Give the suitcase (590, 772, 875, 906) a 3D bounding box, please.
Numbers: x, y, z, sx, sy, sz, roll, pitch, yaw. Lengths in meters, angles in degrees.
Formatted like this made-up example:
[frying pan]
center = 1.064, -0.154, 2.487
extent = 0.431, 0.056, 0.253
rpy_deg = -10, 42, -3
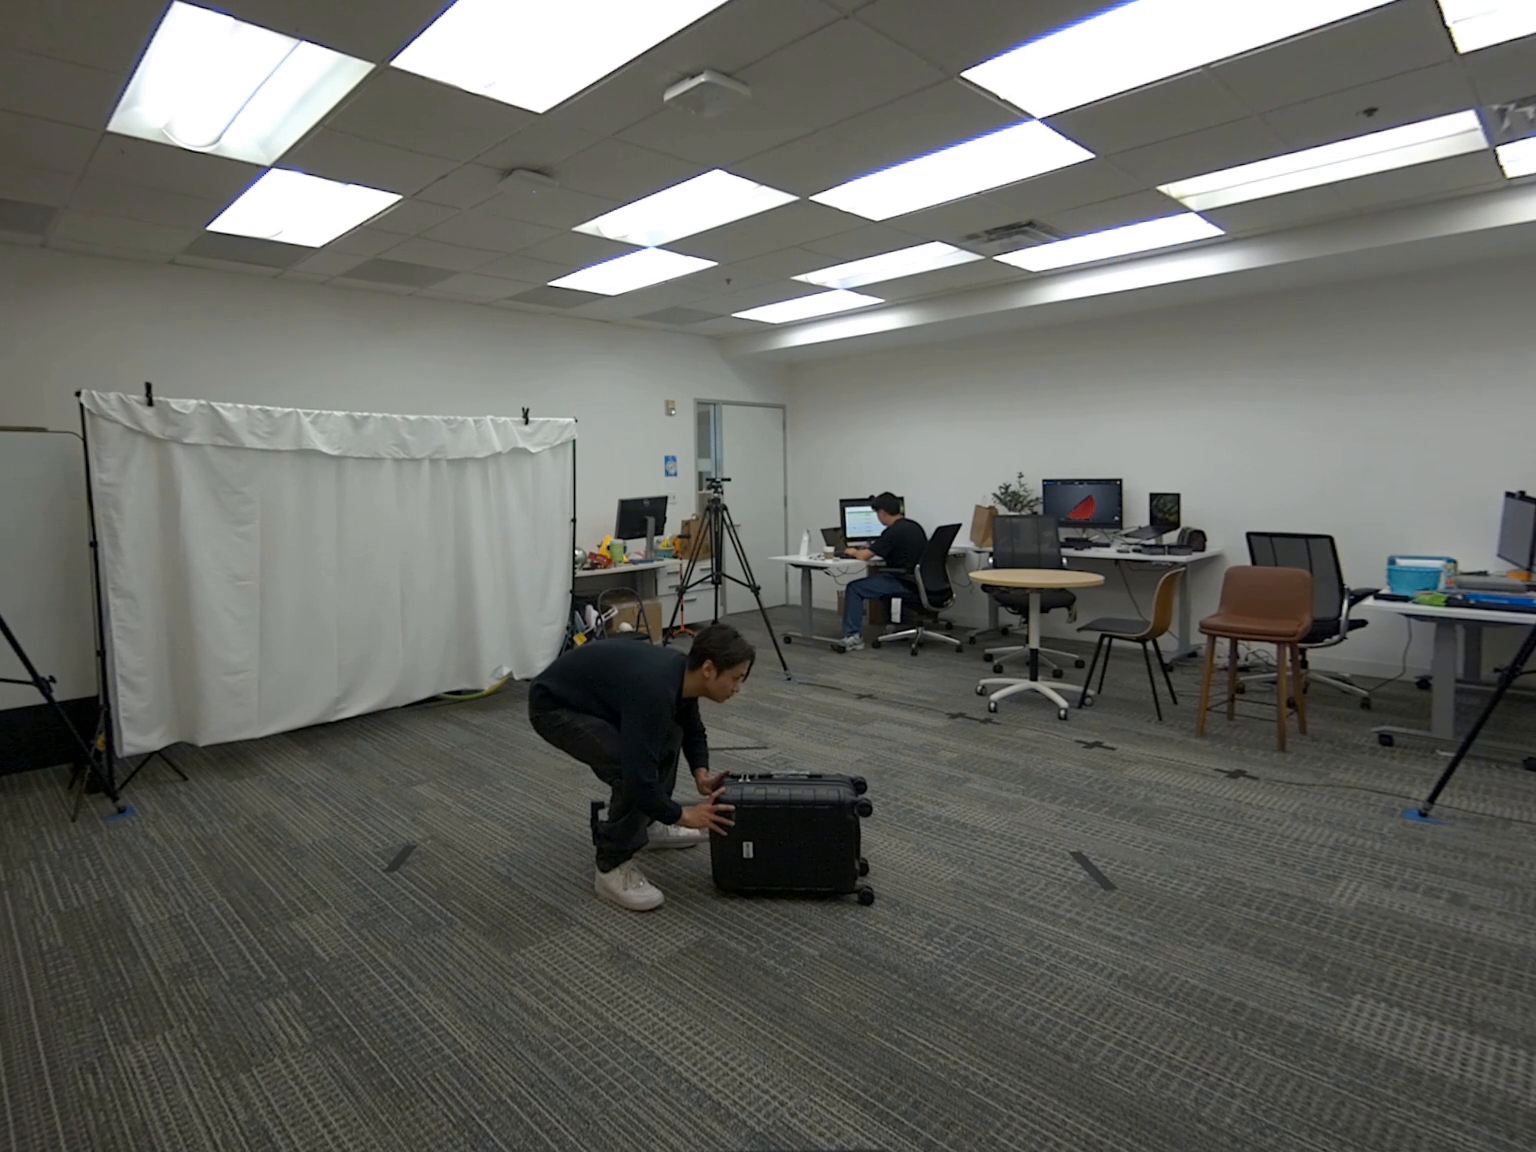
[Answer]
[suitcase]
center = -0.134, 0.880, 2.929
extent = 0.983, 0.383, 0.256
rpy_deg = 1, 3, 4
